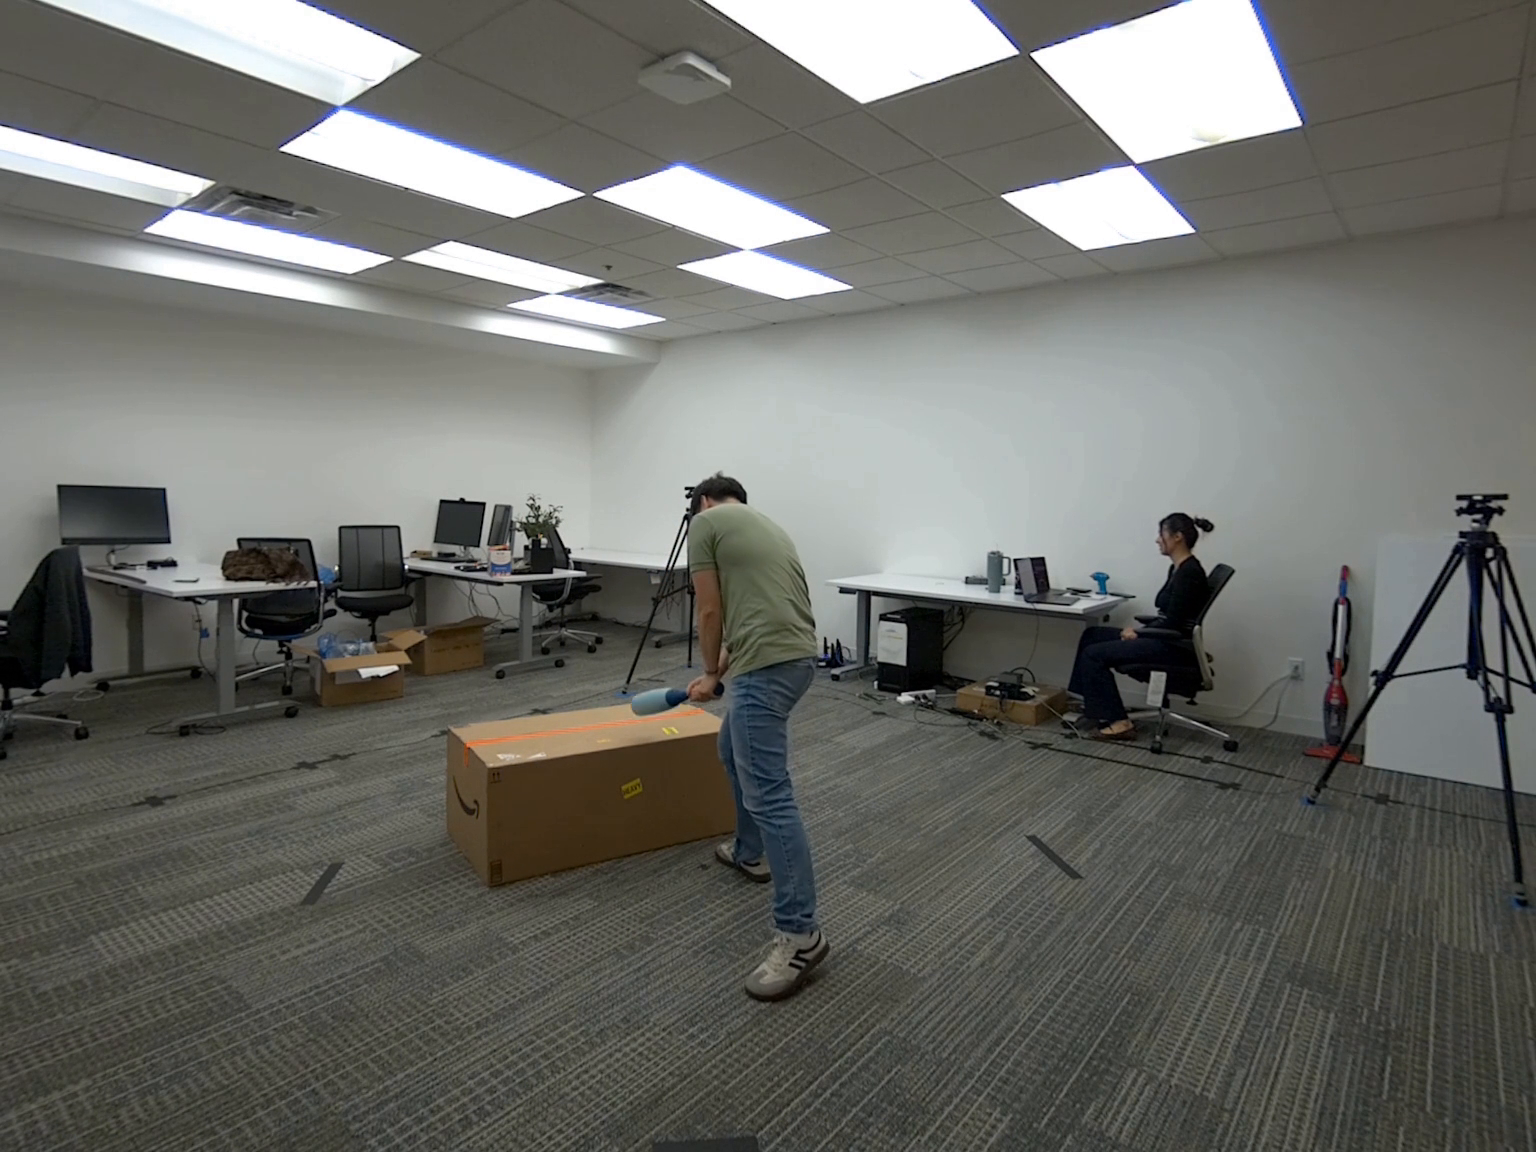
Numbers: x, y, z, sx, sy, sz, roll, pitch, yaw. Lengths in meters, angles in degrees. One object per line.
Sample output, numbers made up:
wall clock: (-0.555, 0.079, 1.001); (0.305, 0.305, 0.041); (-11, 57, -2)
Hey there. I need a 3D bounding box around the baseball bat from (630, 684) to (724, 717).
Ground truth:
baseball bat: (-0.359, 0.440, 3.115); (0.086, 0.090, 0.553); (-2, -11, -38)
